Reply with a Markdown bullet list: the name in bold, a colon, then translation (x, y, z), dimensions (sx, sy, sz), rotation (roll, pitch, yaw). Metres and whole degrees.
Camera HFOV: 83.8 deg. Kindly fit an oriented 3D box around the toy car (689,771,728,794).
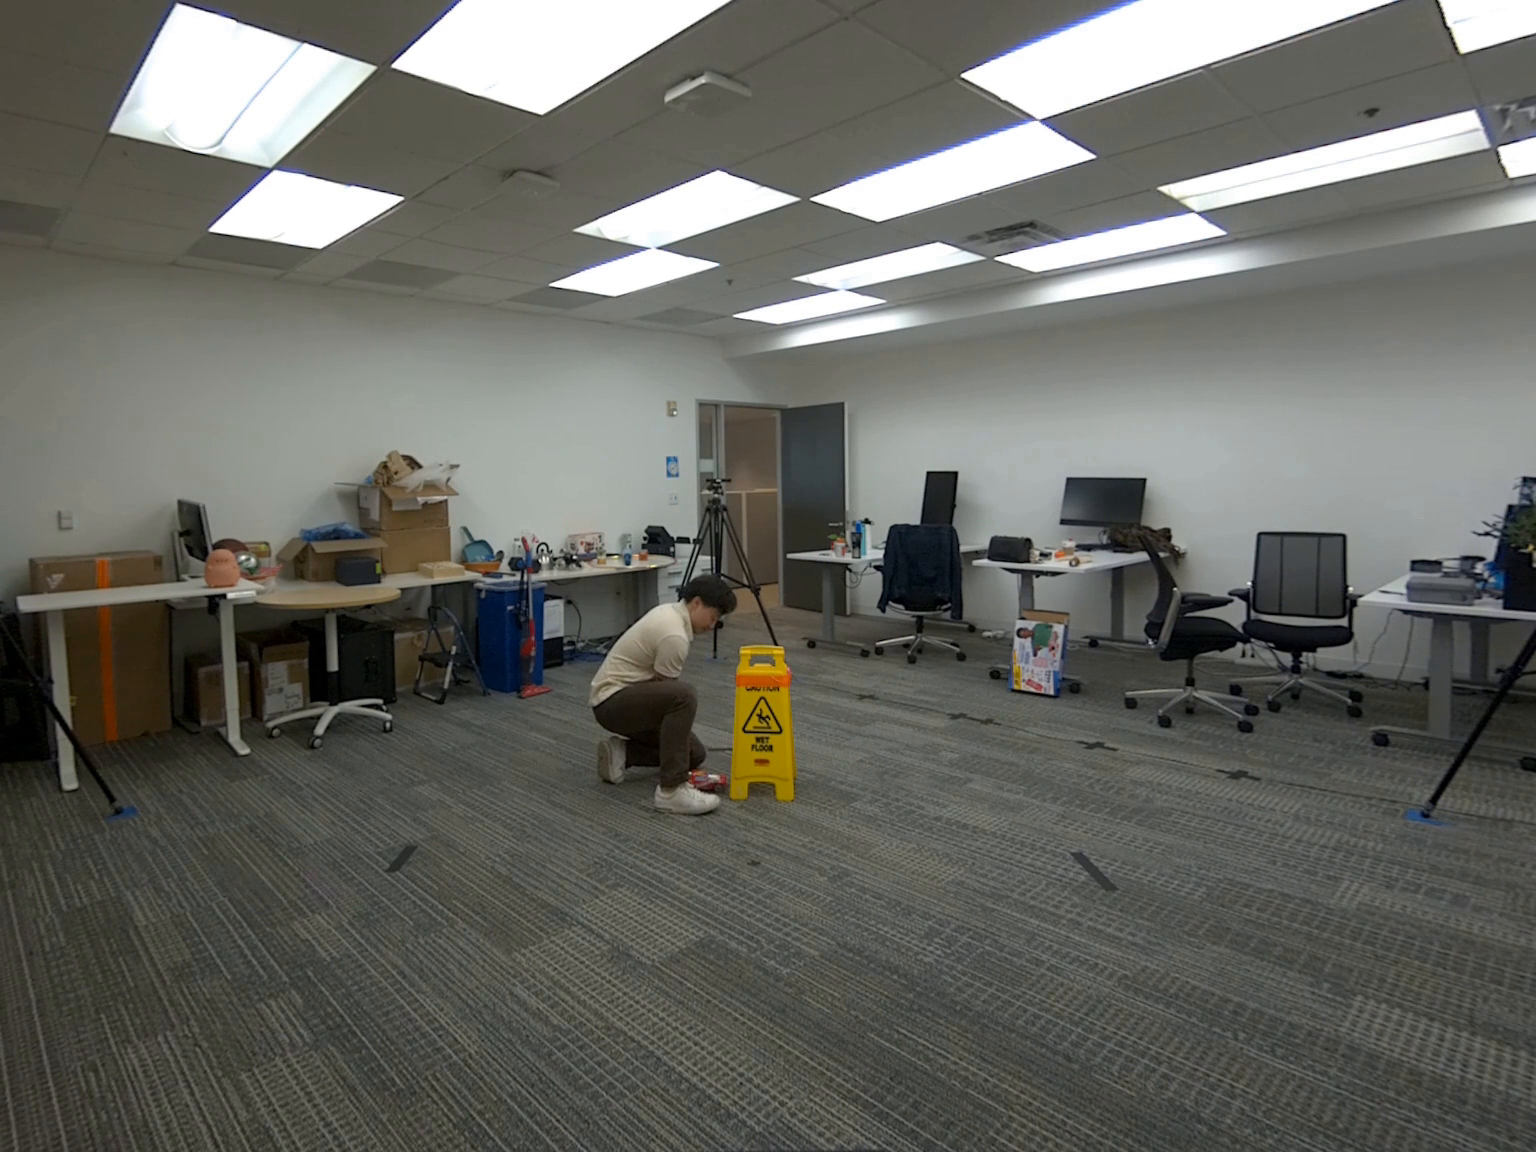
- **toy car**: translation (-0.302, 0.931, 3.874), dimensions (0.255, 0.083, 0.131), rotation (8, 7, 0)
